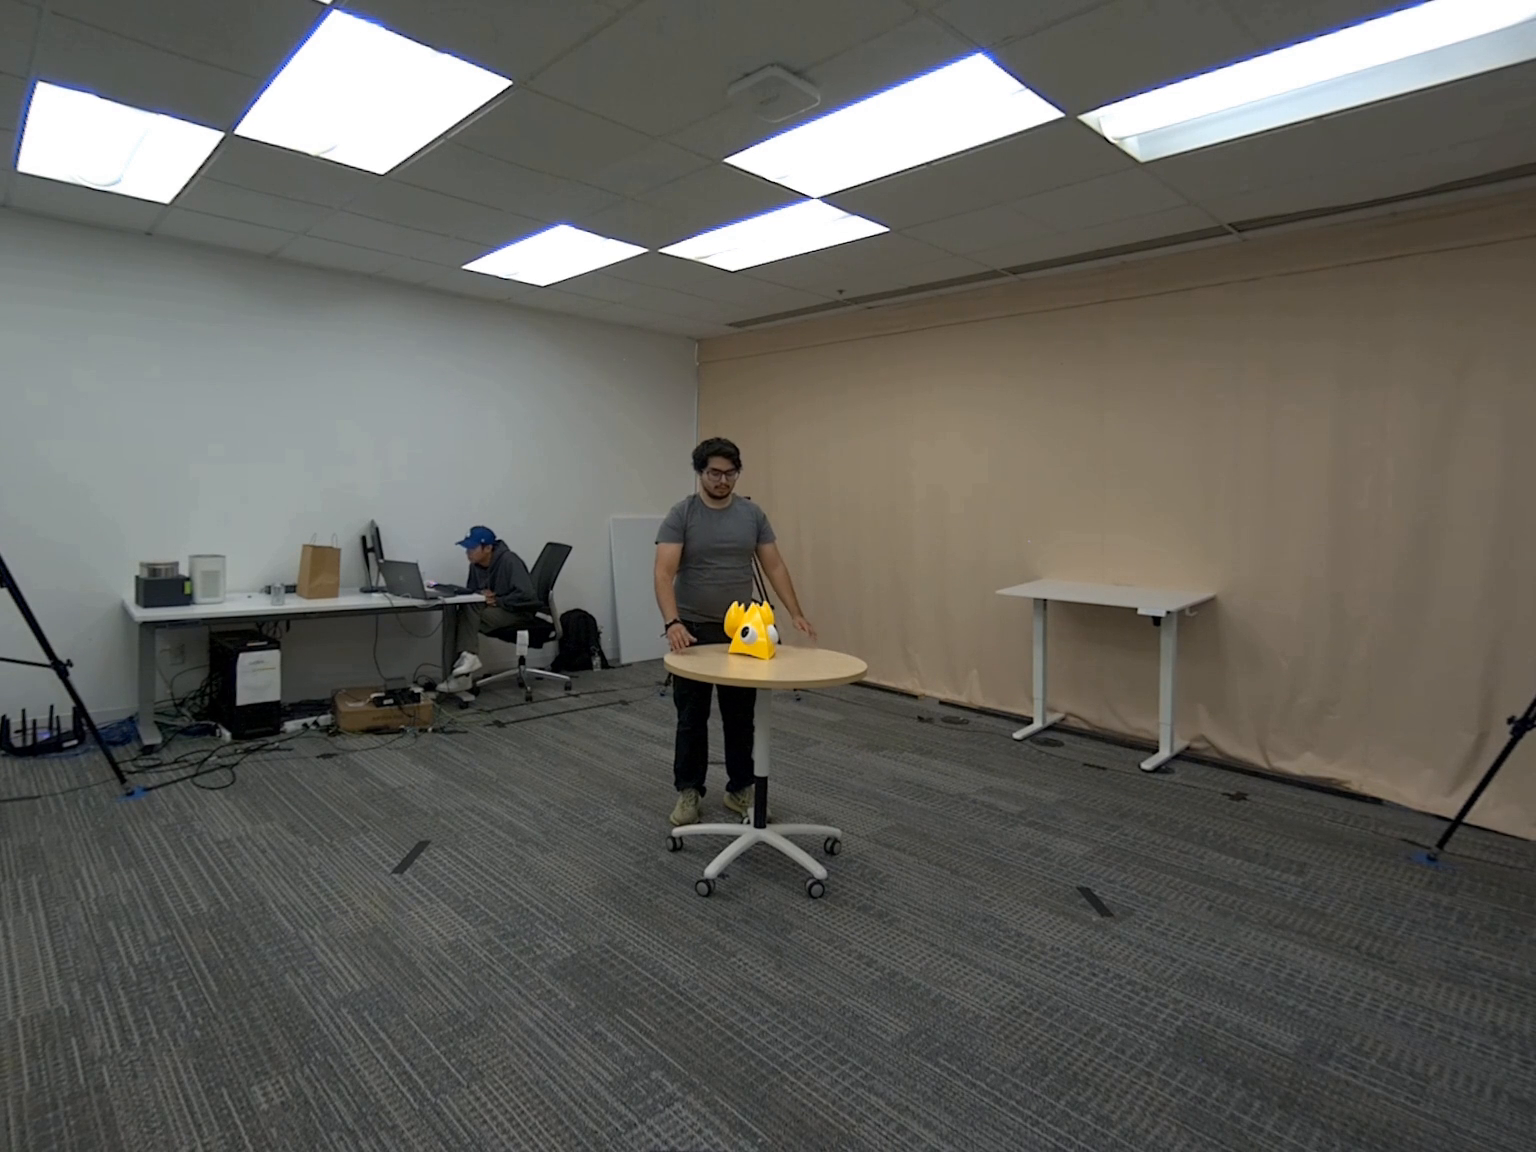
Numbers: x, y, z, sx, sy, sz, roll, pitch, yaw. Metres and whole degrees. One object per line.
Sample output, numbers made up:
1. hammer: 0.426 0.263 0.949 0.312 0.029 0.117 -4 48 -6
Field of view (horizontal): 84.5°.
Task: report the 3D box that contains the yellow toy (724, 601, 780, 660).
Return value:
1. yellow toy: -0.047 0.221 3.285 0.201 0.191 0.236 2 16 -22
